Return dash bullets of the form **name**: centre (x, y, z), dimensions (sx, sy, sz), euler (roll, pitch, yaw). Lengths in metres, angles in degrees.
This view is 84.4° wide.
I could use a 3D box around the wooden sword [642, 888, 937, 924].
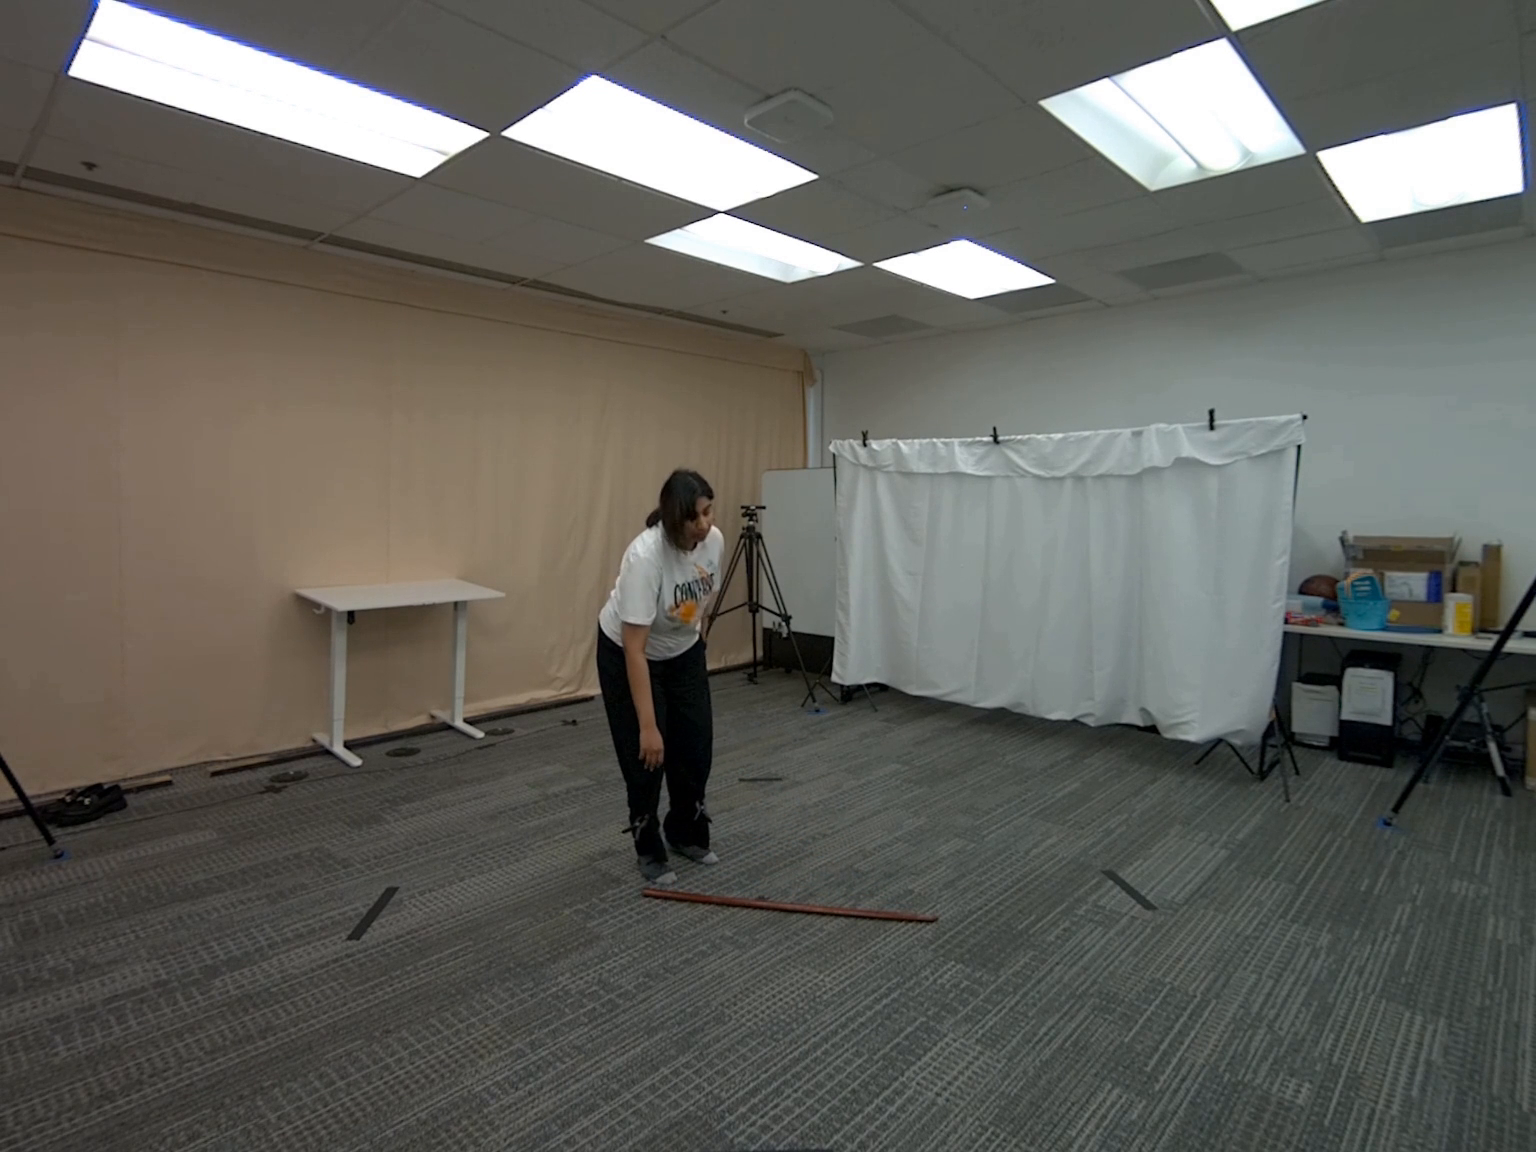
- **wooden sword**: centre (0.063, 1.126, 2.900), dimensions (1.037, 0.024, 0.051), euler (1, 6, 11)
